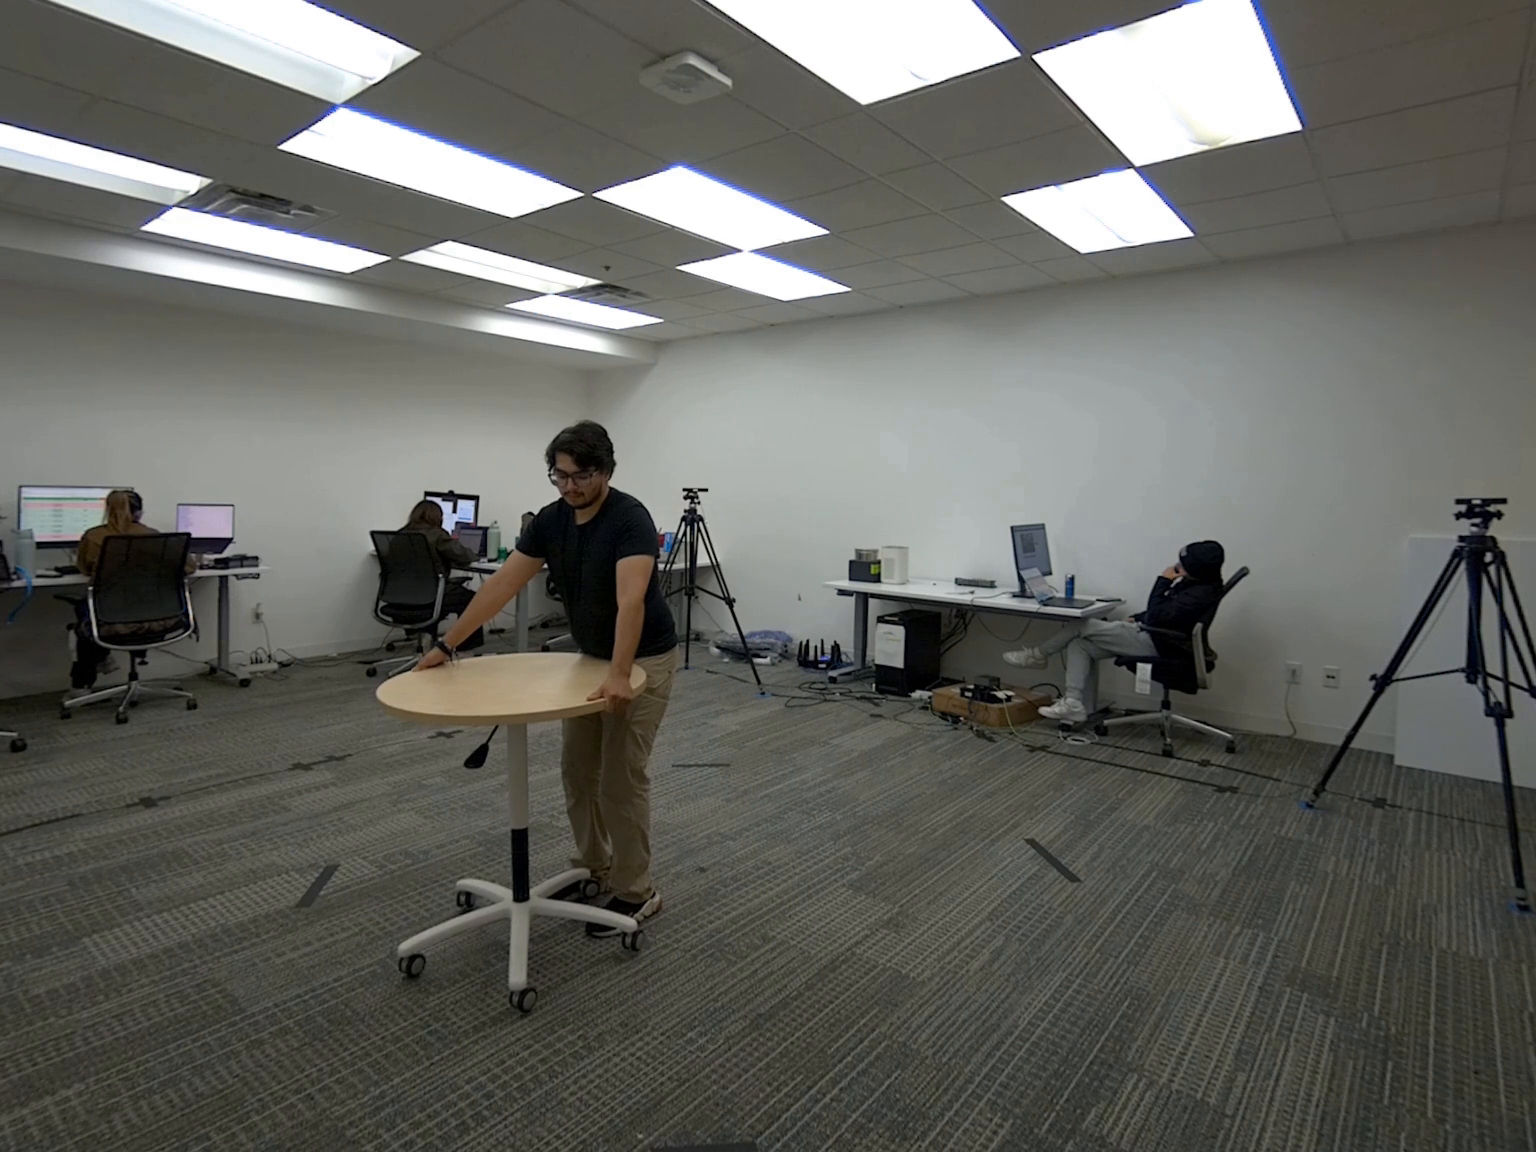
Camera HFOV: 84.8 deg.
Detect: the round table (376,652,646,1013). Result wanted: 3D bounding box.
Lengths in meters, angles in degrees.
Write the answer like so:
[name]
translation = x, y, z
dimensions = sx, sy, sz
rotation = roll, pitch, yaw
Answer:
[round table]
translation = -0.739, 0.697, 2.509
dimensions = 0.784, 0.783, 0.790
rotation = -1, 5, -2
